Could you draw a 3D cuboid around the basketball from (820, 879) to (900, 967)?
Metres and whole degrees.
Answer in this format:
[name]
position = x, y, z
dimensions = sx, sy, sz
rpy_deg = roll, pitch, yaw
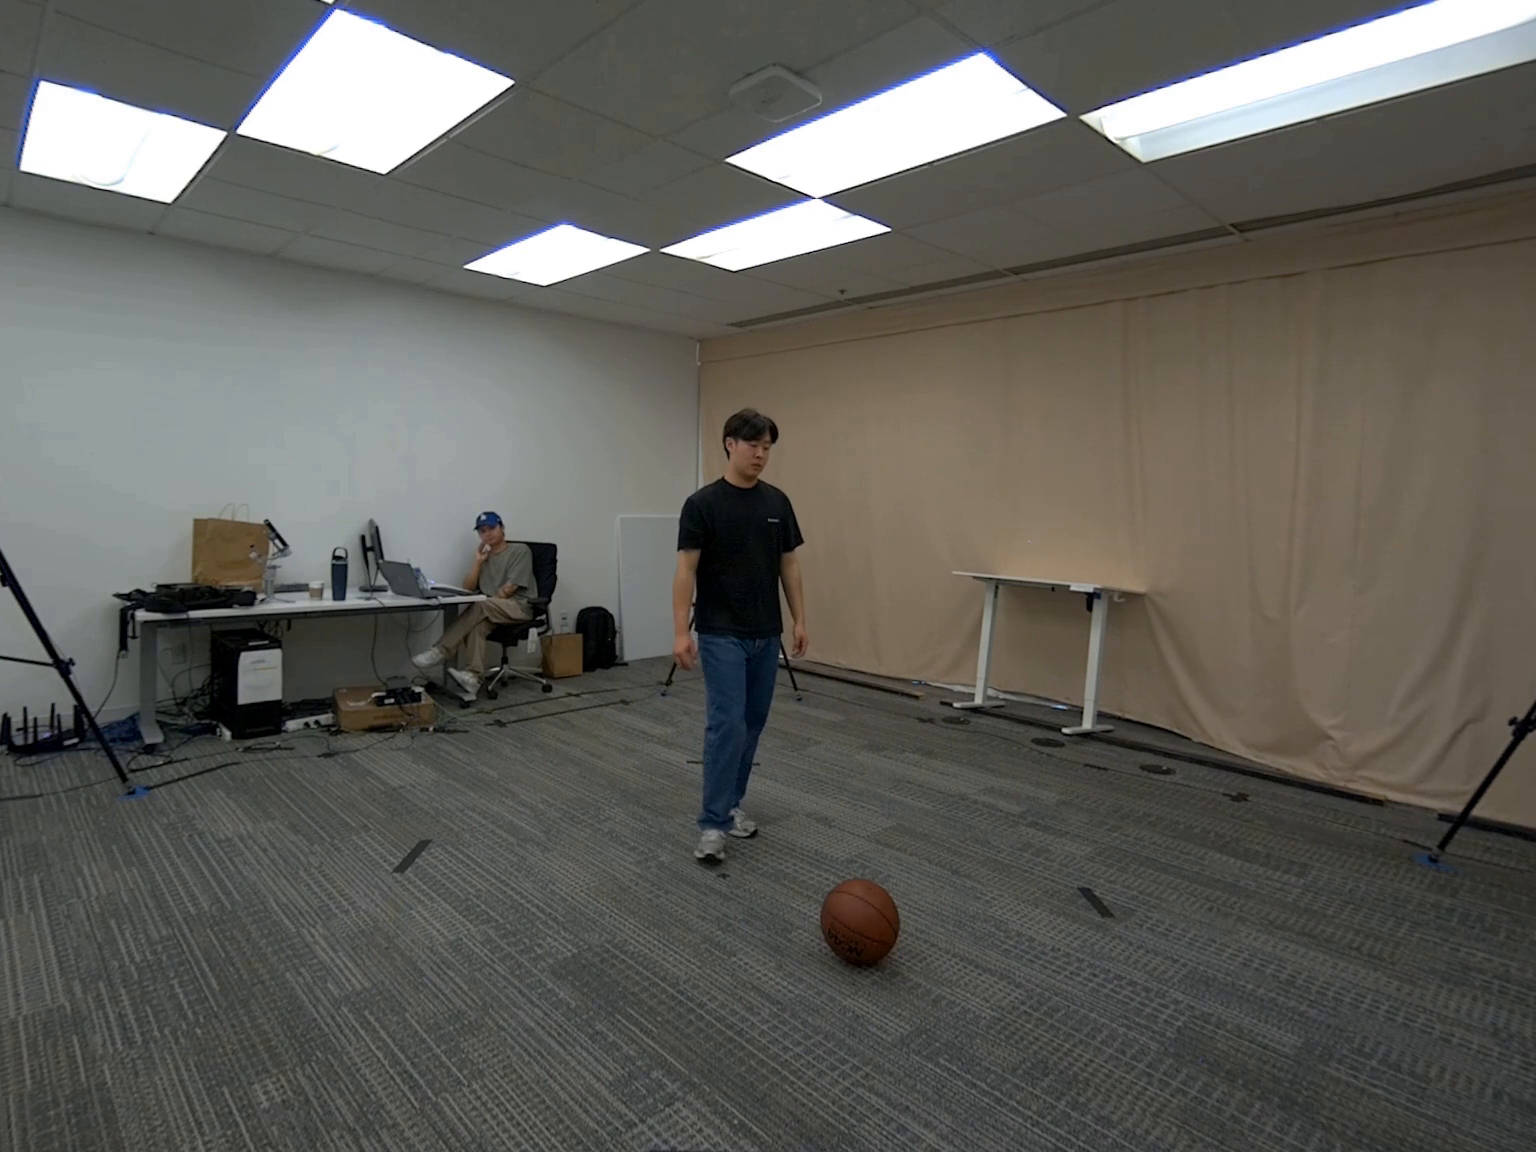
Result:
[basketball]
position = 0.277, 1.049, 2.556
dimensions = 0.236, 0.235, 0.237
rpy_deg = 1, 4, -1
